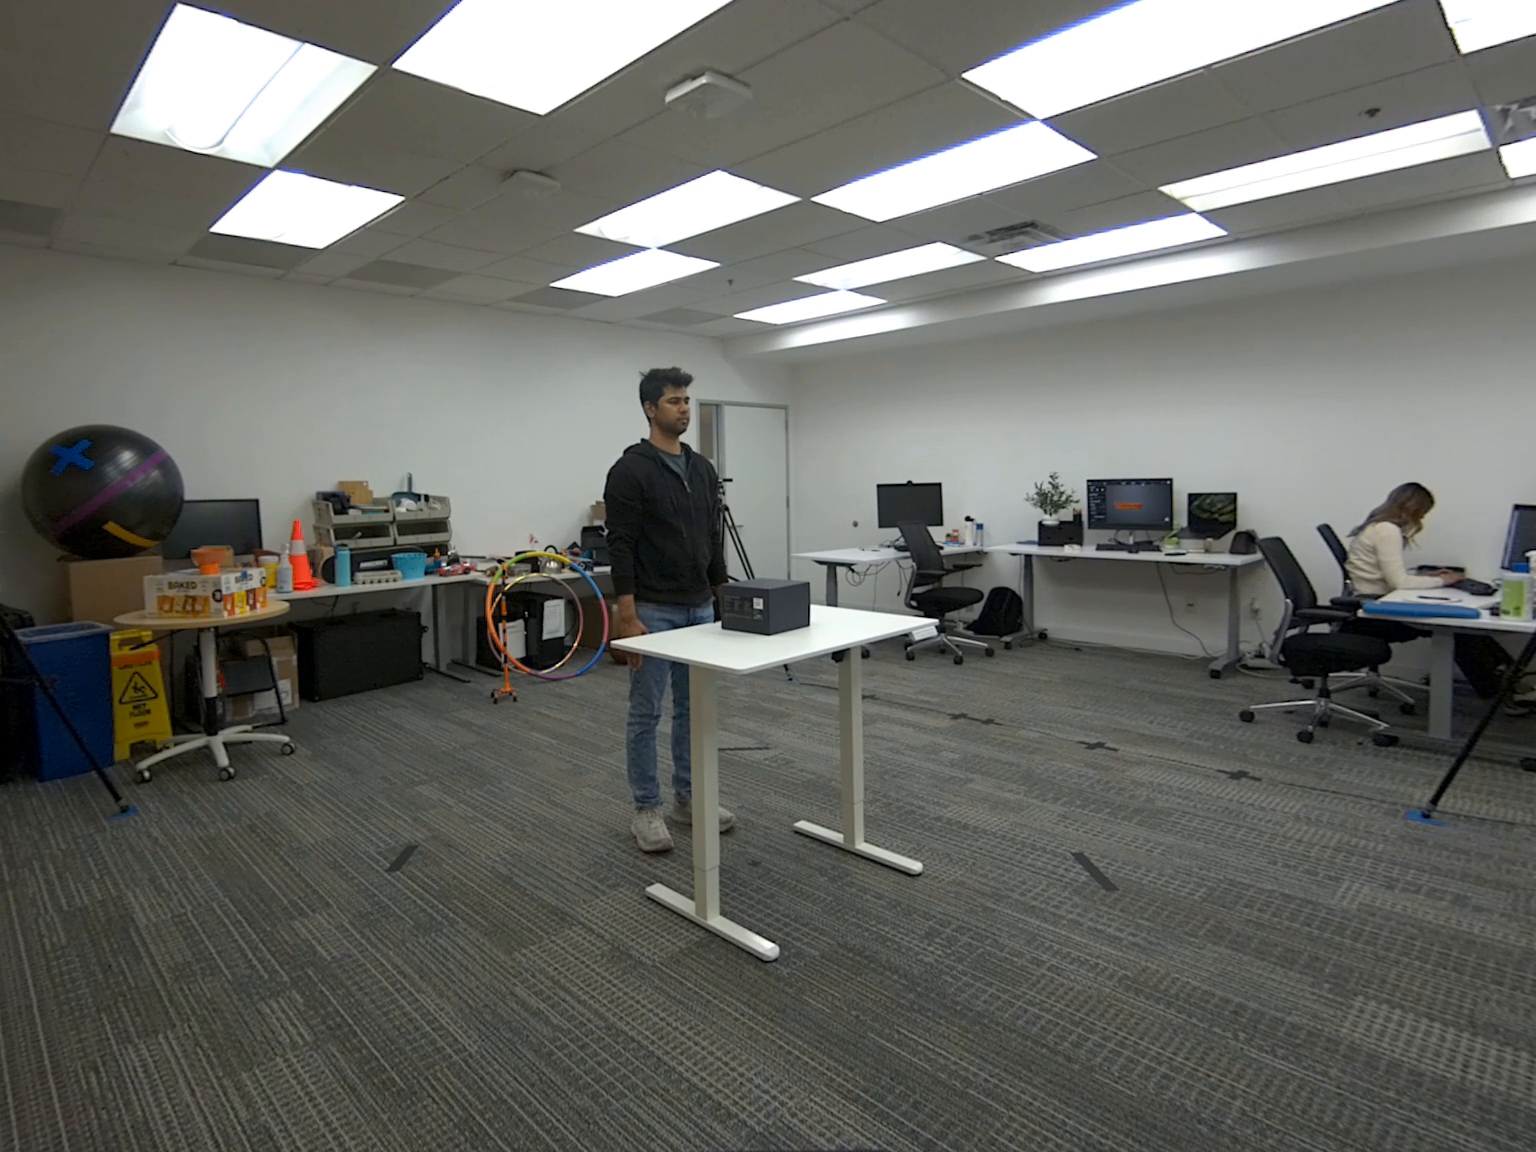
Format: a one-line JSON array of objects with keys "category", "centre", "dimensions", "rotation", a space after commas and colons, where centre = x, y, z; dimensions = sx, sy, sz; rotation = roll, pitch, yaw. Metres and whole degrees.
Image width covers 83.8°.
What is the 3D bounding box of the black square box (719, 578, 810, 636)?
[{"category": "black square box", "centre": [-0.009, 0.100, 2.943], "dimensions": [0.223, 0.155, 0.222], "rotation": [3, 7, 41]}]
